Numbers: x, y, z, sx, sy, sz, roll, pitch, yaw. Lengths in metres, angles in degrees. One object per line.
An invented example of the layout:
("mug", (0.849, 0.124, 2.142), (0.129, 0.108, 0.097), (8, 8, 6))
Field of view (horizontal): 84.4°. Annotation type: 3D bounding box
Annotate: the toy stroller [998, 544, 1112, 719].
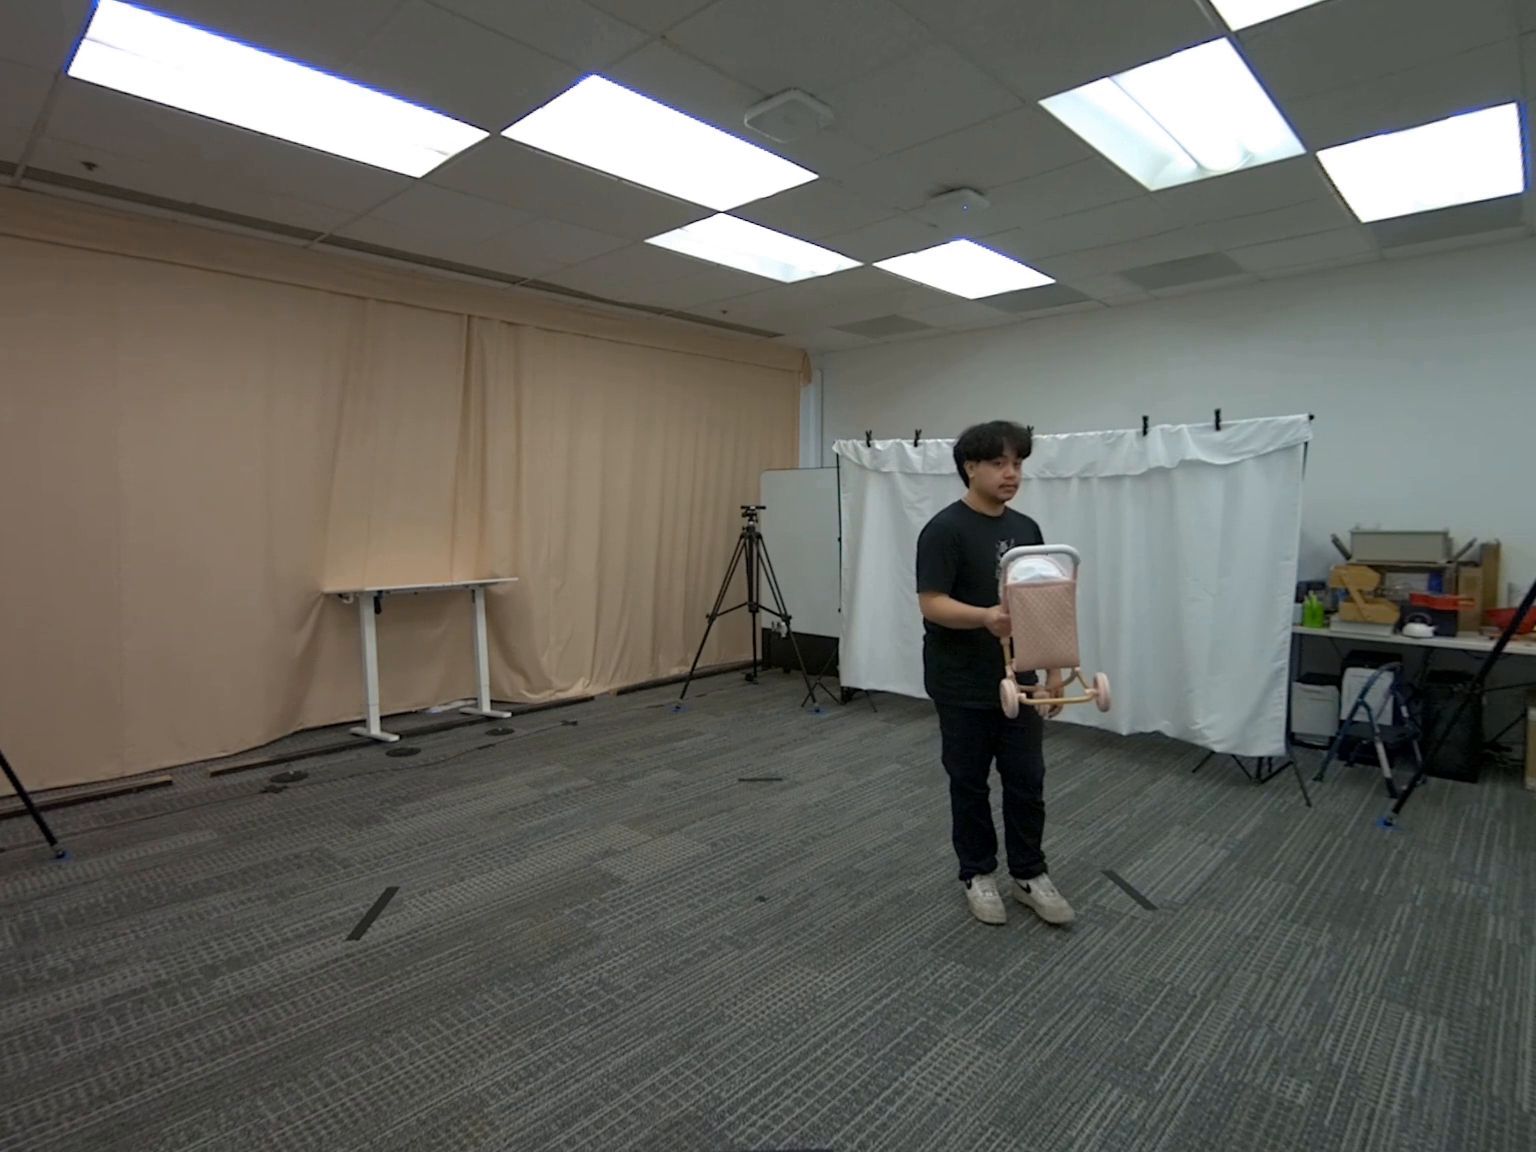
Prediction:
("toy stroller", (0.809, 0.176, 2.468), (0.285, 0.535, 0.337), (-7, 1, 13))
